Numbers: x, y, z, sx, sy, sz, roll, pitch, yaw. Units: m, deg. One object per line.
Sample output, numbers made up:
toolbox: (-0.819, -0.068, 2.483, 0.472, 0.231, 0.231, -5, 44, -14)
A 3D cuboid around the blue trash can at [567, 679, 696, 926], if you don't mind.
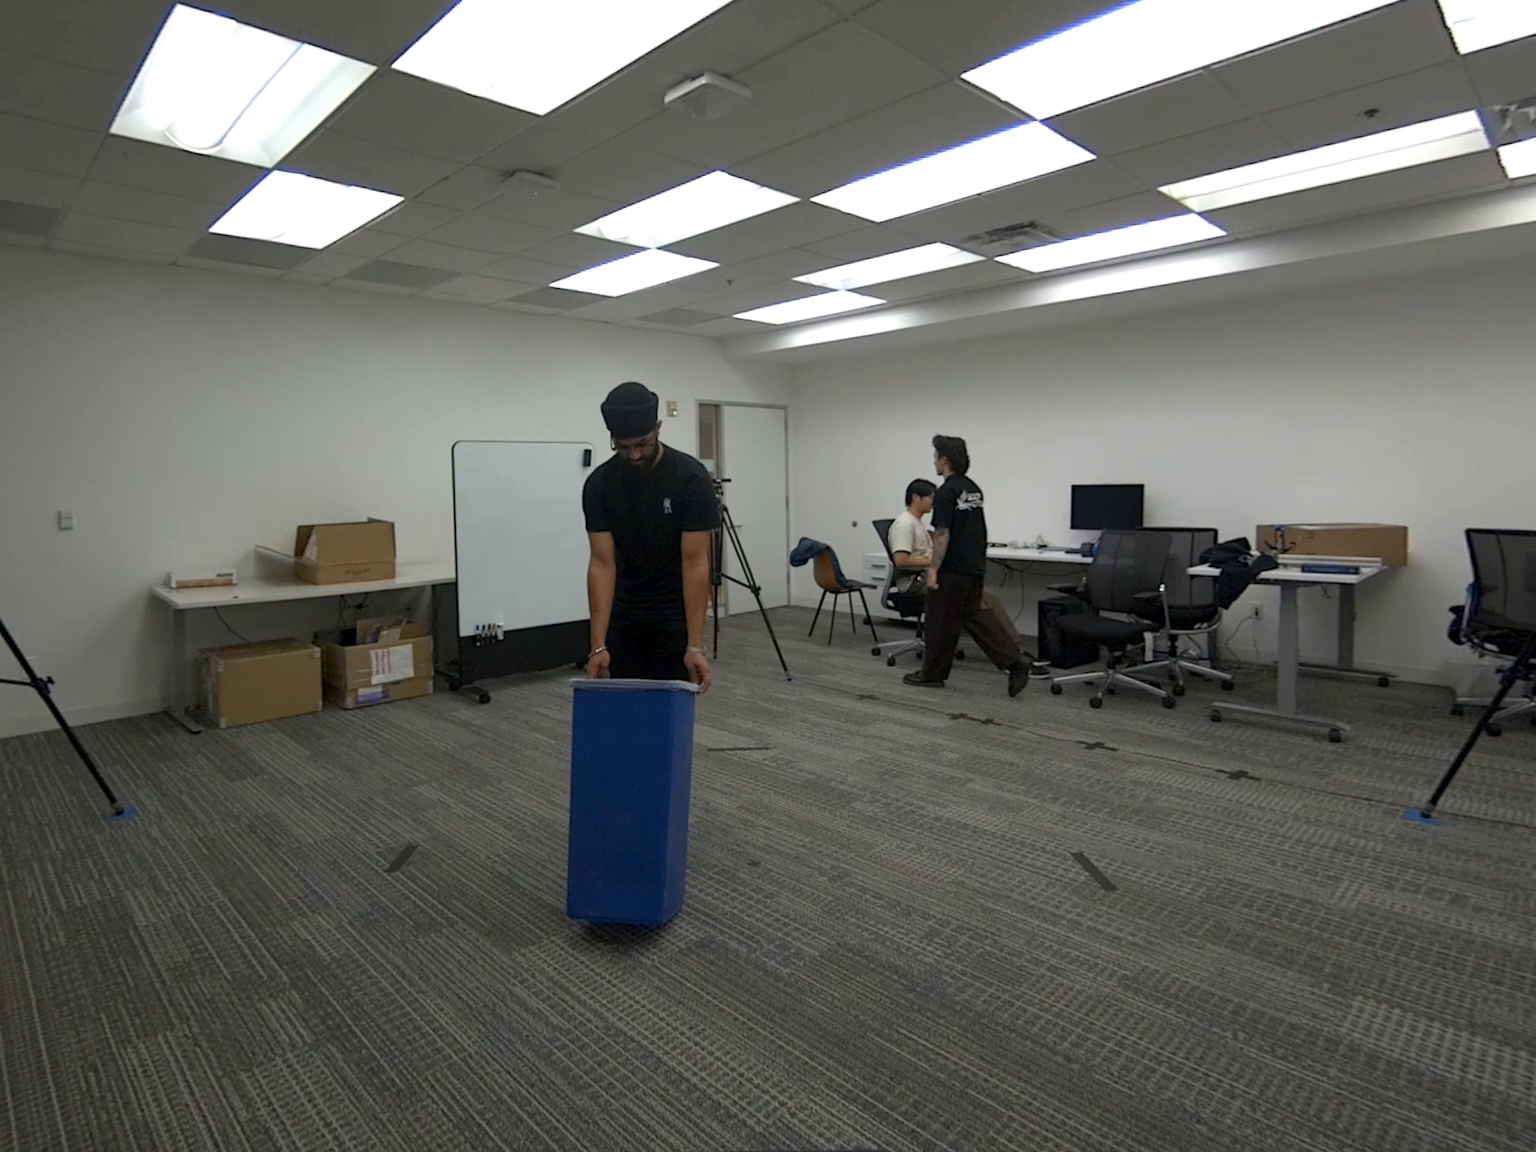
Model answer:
blue trash can: (-0.444, 0.711, 2.772, 0.382, 0.721, 0.366, -1, -12, 9)
